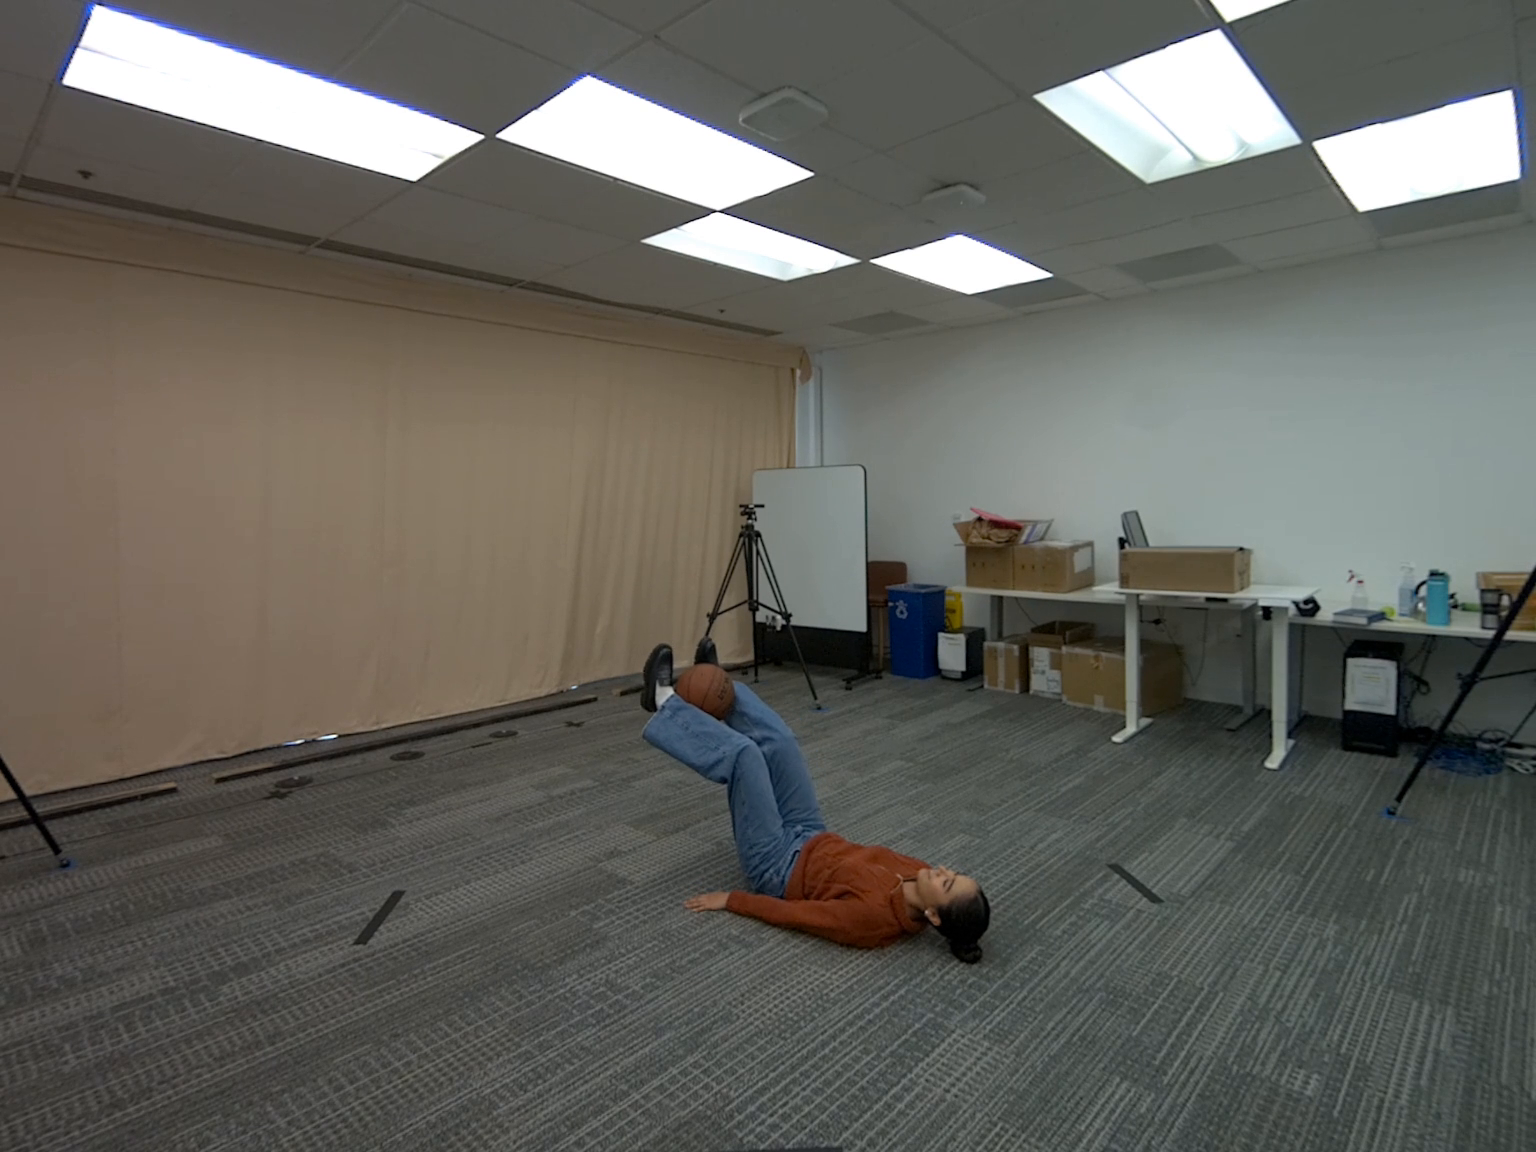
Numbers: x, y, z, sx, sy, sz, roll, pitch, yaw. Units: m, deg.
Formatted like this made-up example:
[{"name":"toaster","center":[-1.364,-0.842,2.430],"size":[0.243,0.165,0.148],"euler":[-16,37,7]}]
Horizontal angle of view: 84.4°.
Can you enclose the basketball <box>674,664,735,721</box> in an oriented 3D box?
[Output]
[{"name":"basketball","center":[-0.246,0.461,3.268],"size":[0.236,0.235,0.237],"euler":[-1,4,-2]}]
